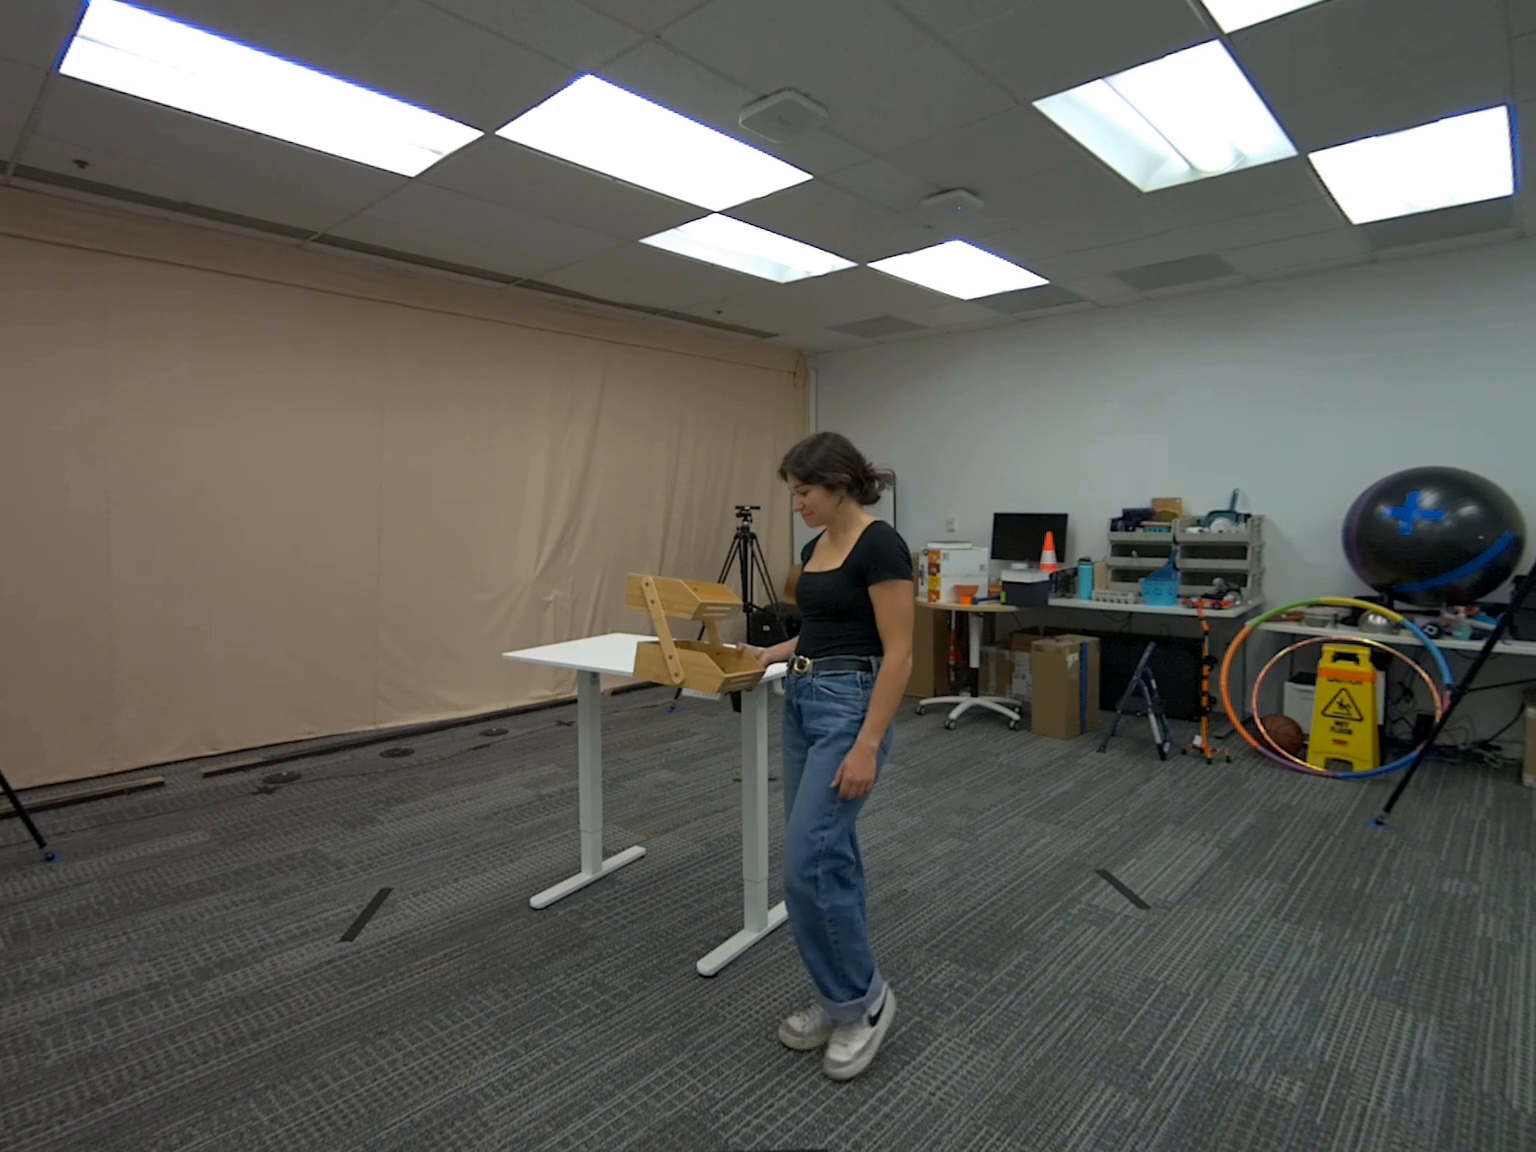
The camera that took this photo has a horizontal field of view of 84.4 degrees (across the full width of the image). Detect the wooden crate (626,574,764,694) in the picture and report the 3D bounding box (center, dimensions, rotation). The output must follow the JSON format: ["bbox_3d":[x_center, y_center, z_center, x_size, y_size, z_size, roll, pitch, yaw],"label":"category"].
[{"bbox_3d":[-0.169,0.146,2.214,0.309,0.273,0.316,6,-2,21],"label":"wooden crate"}]
